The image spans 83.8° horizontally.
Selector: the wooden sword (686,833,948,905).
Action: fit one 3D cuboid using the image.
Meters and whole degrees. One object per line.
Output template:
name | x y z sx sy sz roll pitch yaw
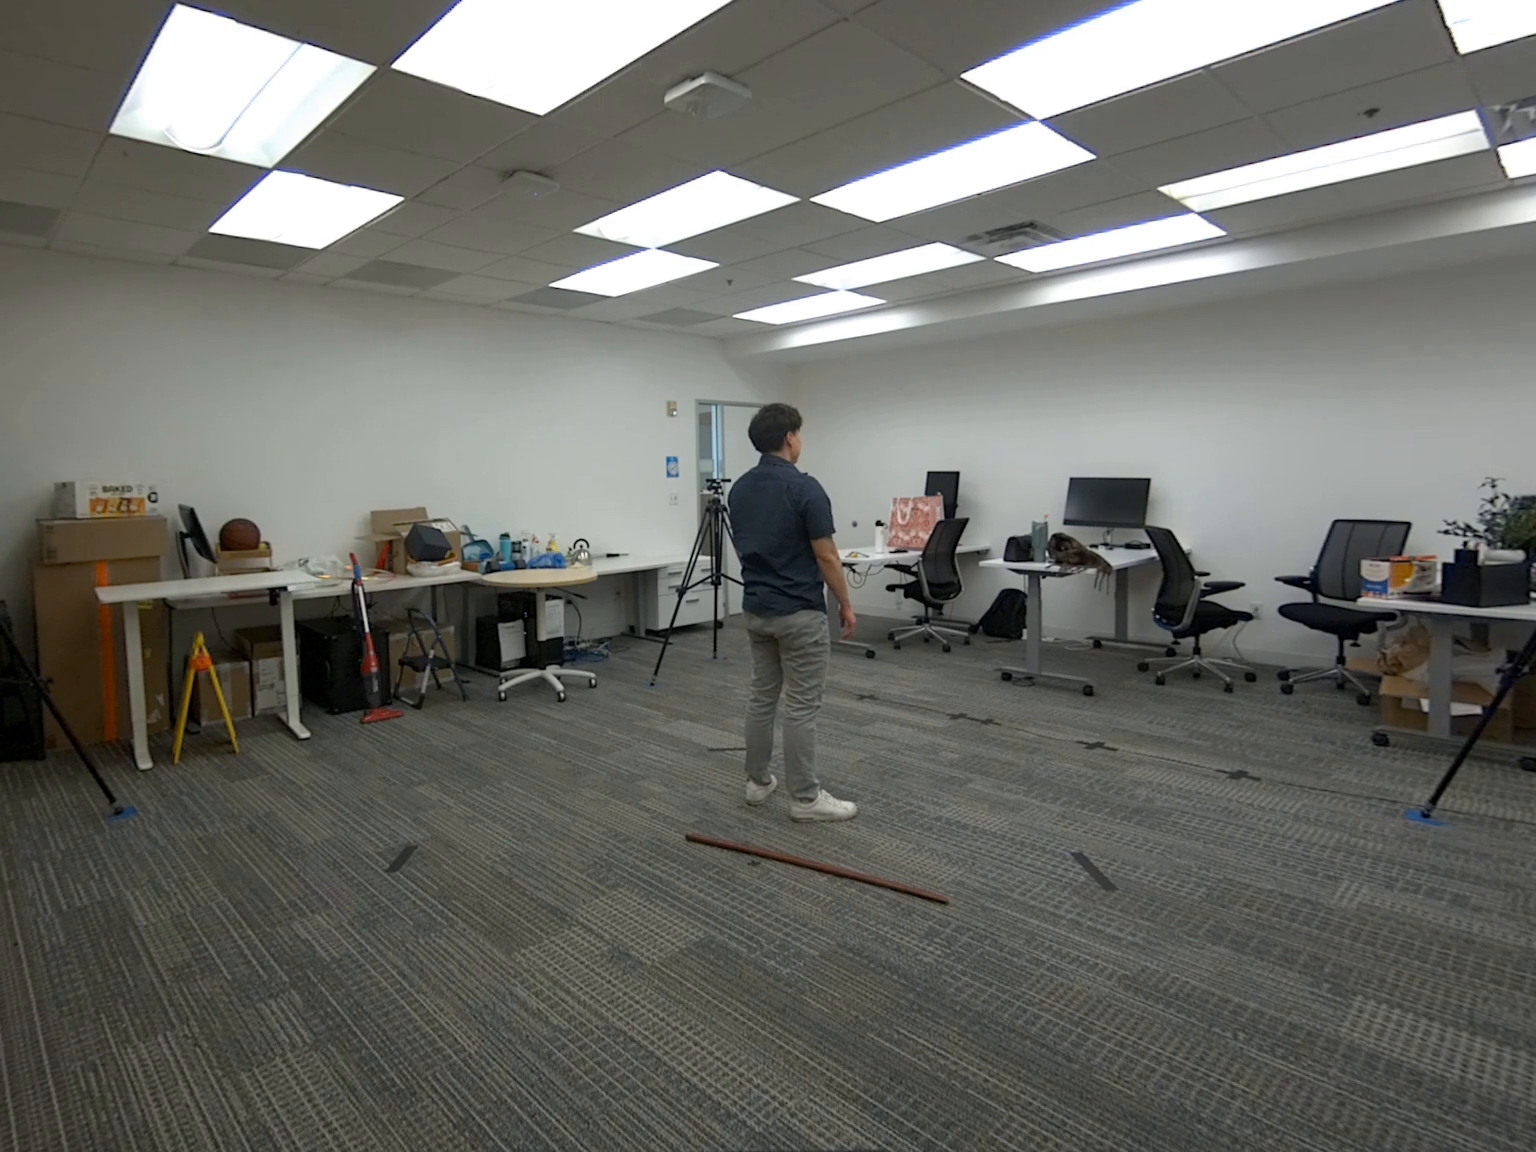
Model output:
wooden sword | 0.136 1.023 3.060 1.052 0.024 0.049 3 -15 31
